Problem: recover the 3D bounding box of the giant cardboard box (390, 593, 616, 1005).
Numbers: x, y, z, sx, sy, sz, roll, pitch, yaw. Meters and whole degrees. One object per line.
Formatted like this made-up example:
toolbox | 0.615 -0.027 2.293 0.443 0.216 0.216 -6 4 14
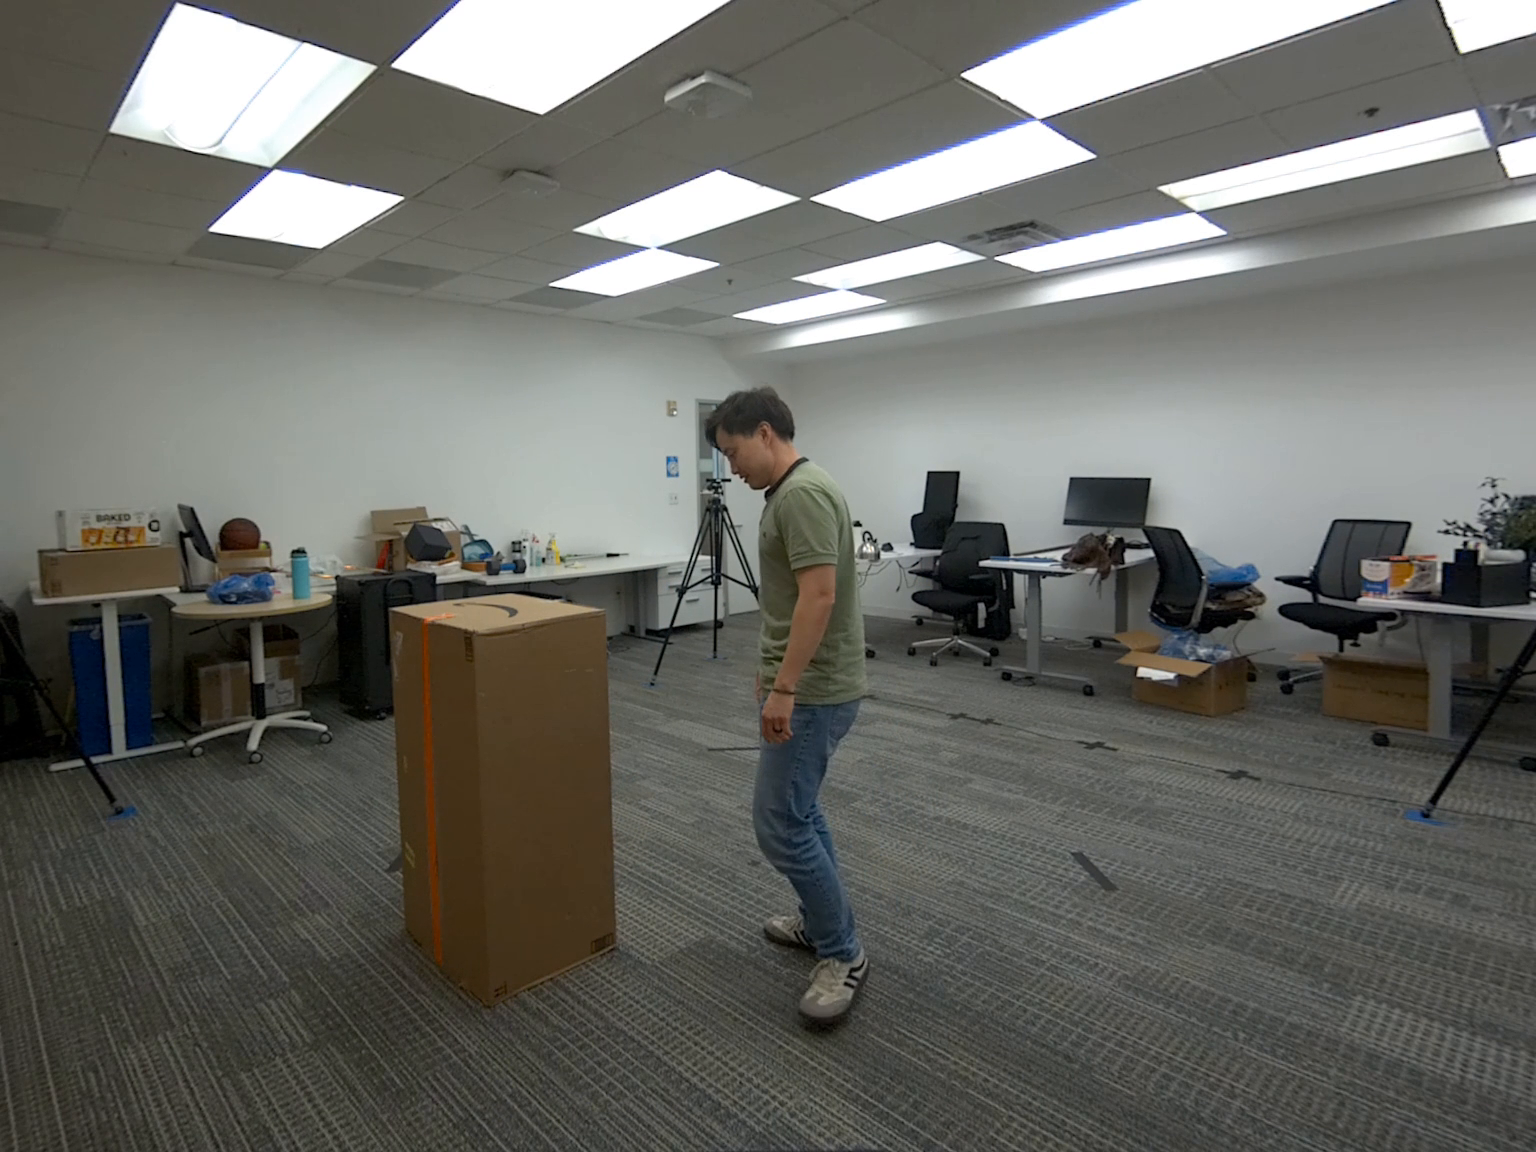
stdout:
giant cardboard box | -0.808 0.608 2.593 0.415 1.021 0.595 -5 6 -43
